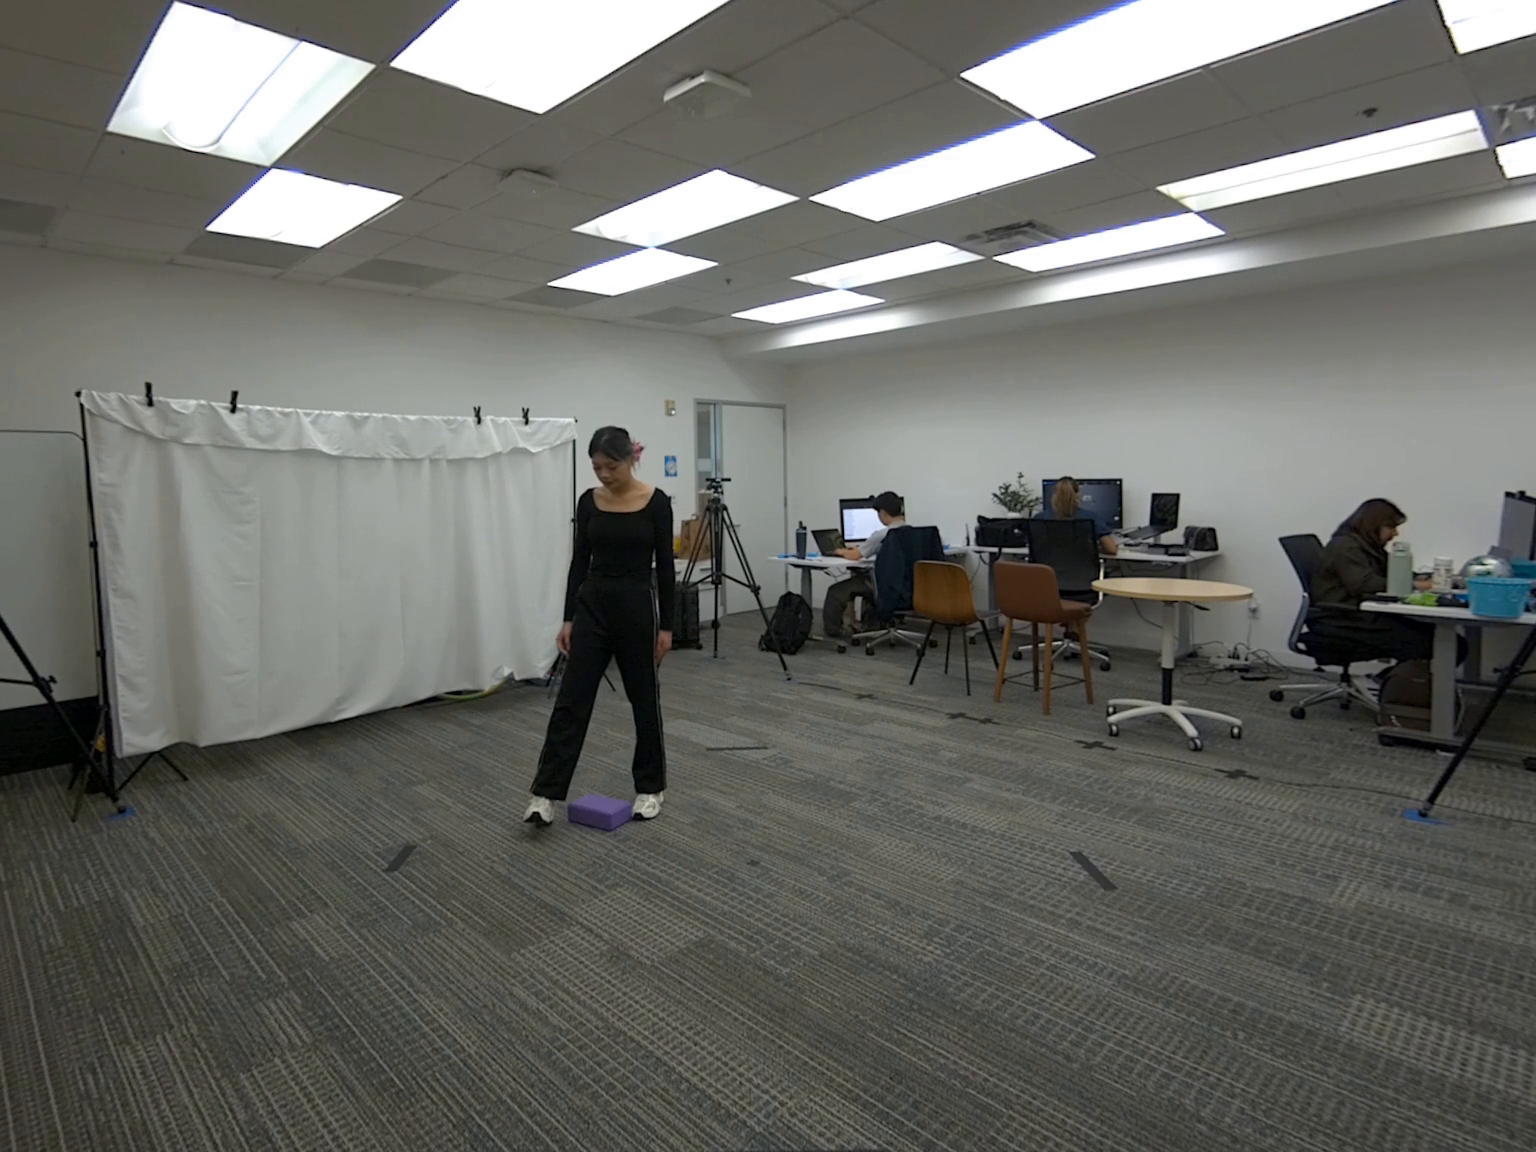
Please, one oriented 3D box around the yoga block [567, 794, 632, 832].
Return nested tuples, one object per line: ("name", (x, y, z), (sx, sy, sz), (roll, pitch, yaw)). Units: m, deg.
("yoga block", (-0.690, 0.964, 3.513), (0.235, 0.076, 0.146), (3, 8, 30))
